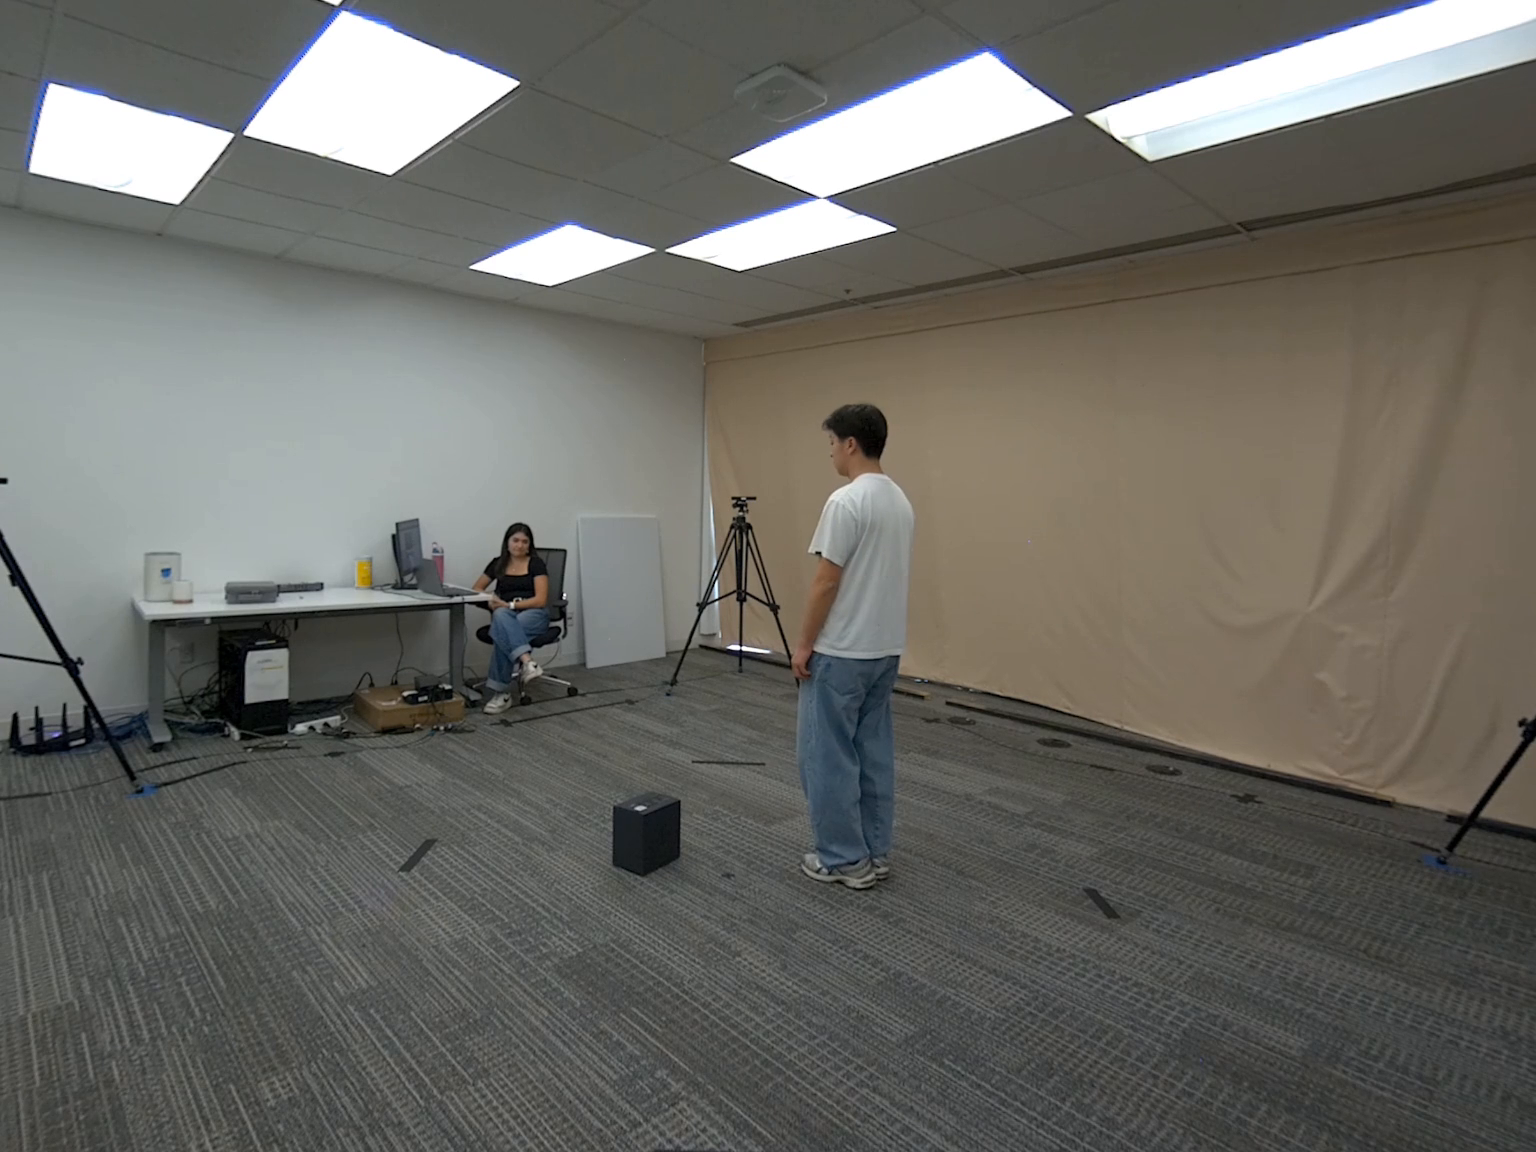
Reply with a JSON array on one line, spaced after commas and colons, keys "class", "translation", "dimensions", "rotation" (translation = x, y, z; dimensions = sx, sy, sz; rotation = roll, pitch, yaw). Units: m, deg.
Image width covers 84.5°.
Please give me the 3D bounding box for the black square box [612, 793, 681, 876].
[{"class": "black square box", "translation": [-0.462, 0.965, 3.201], "dimensions": [0.159, 0.227, 0.212], "rotation": [2, 4, 35]}]
